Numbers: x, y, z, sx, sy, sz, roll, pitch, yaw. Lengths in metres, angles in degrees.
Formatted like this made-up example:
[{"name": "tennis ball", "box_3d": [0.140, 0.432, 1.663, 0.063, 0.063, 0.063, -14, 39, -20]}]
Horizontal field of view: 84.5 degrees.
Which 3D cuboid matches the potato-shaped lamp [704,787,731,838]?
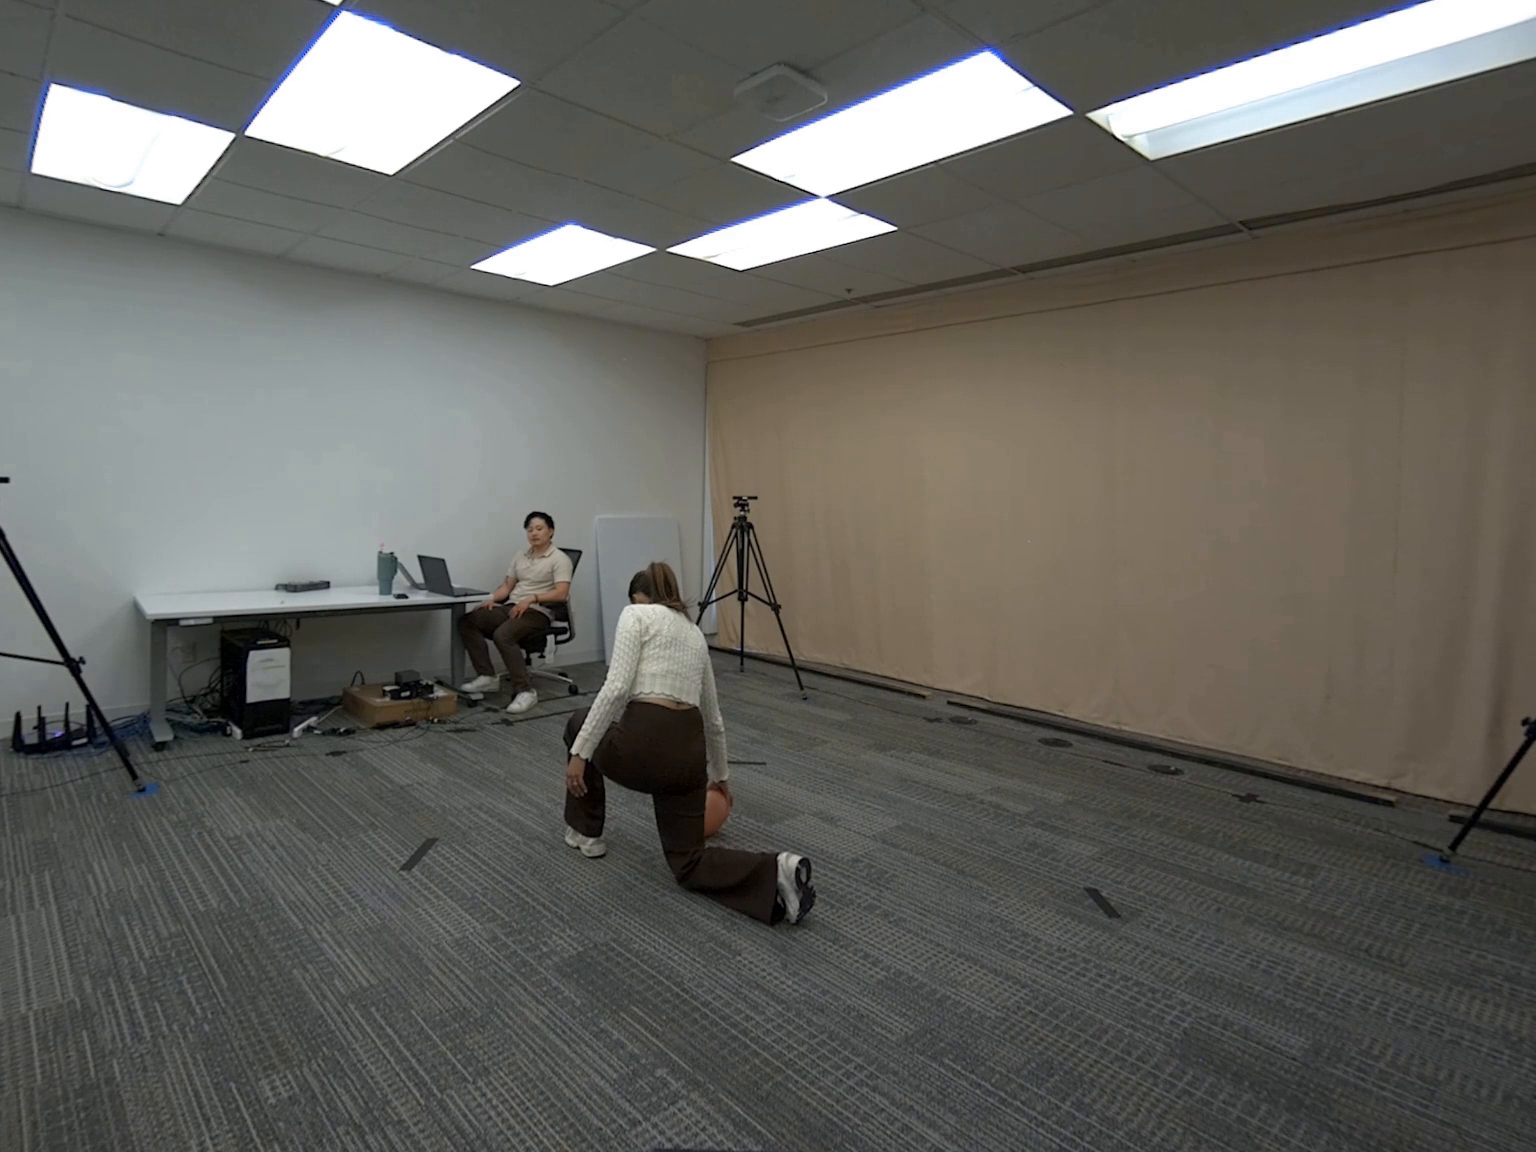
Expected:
[{"name": "potato-shaped lamp", "box_3d": [-0.256, 0.964, 3.473, 0.170, 0.198, 0.166, 39, -1, -8]}]
